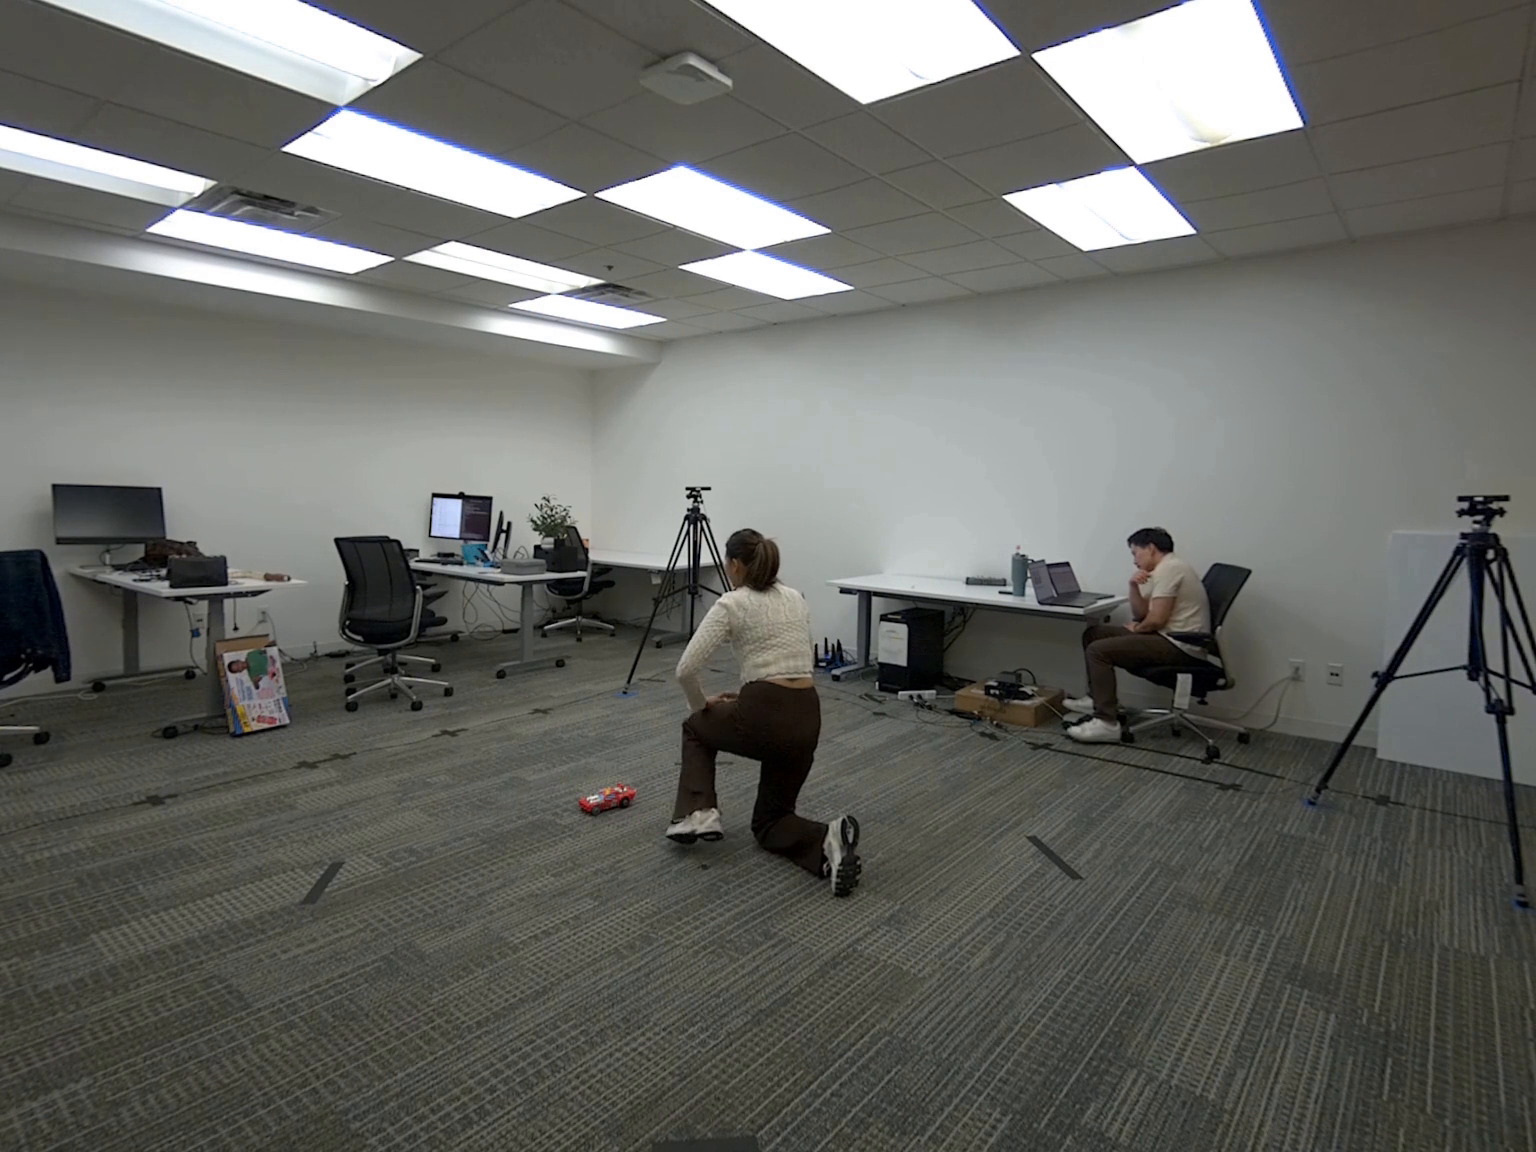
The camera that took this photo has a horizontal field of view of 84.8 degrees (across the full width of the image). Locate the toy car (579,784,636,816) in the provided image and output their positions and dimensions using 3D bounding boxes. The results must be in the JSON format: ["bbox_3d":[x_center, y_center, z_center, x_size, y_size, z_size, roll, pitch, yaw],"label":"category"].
[{"bbox_3d":[-0.705,0.967,3.698,0.249,0.082,0.134,-18,15,-37],"label":"toy car"}]
